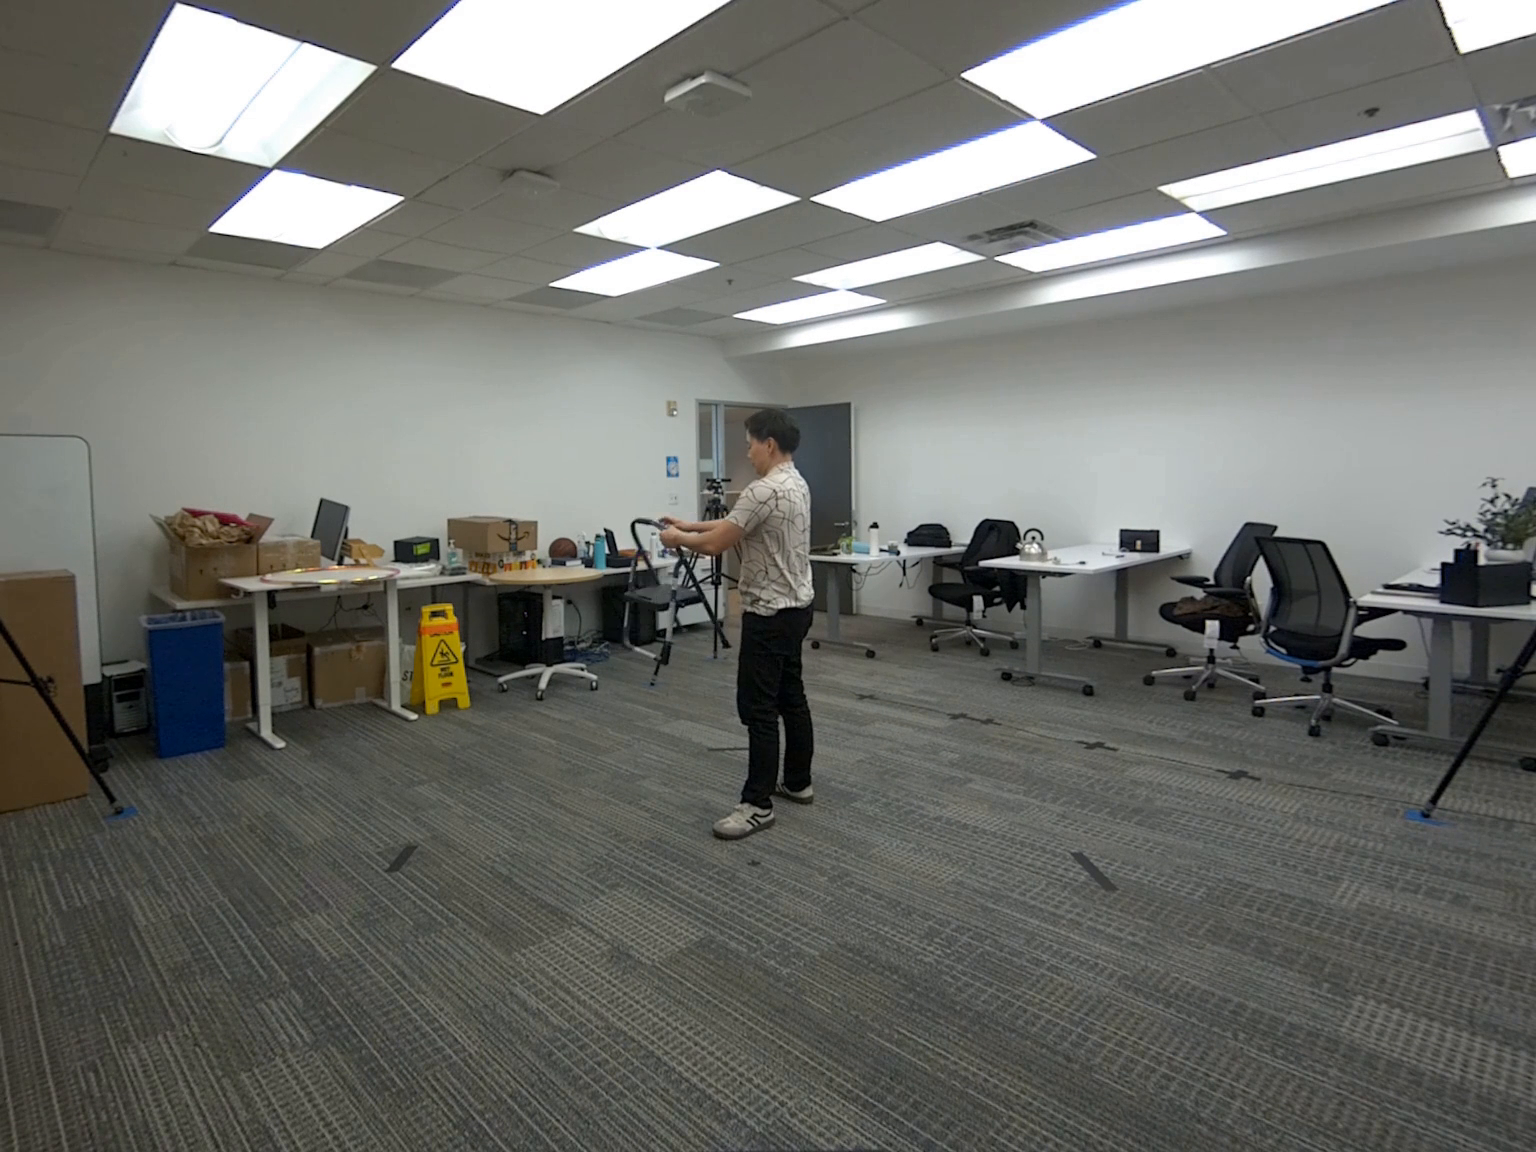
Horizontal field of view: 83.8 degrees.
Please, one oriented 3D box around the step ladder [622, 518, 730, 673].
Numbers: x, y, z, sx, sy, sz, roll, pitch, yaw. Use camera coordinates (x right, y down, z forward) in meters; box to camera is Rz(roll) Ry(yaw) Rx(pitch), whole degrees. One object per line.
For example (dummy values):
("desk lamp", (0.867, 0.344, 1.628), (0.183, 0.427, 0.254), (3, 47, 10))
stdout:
("step ladder", (-0.453, 0.028, 3.846), (0.341, 0.602, 0.443), (-9, 8, -34))
